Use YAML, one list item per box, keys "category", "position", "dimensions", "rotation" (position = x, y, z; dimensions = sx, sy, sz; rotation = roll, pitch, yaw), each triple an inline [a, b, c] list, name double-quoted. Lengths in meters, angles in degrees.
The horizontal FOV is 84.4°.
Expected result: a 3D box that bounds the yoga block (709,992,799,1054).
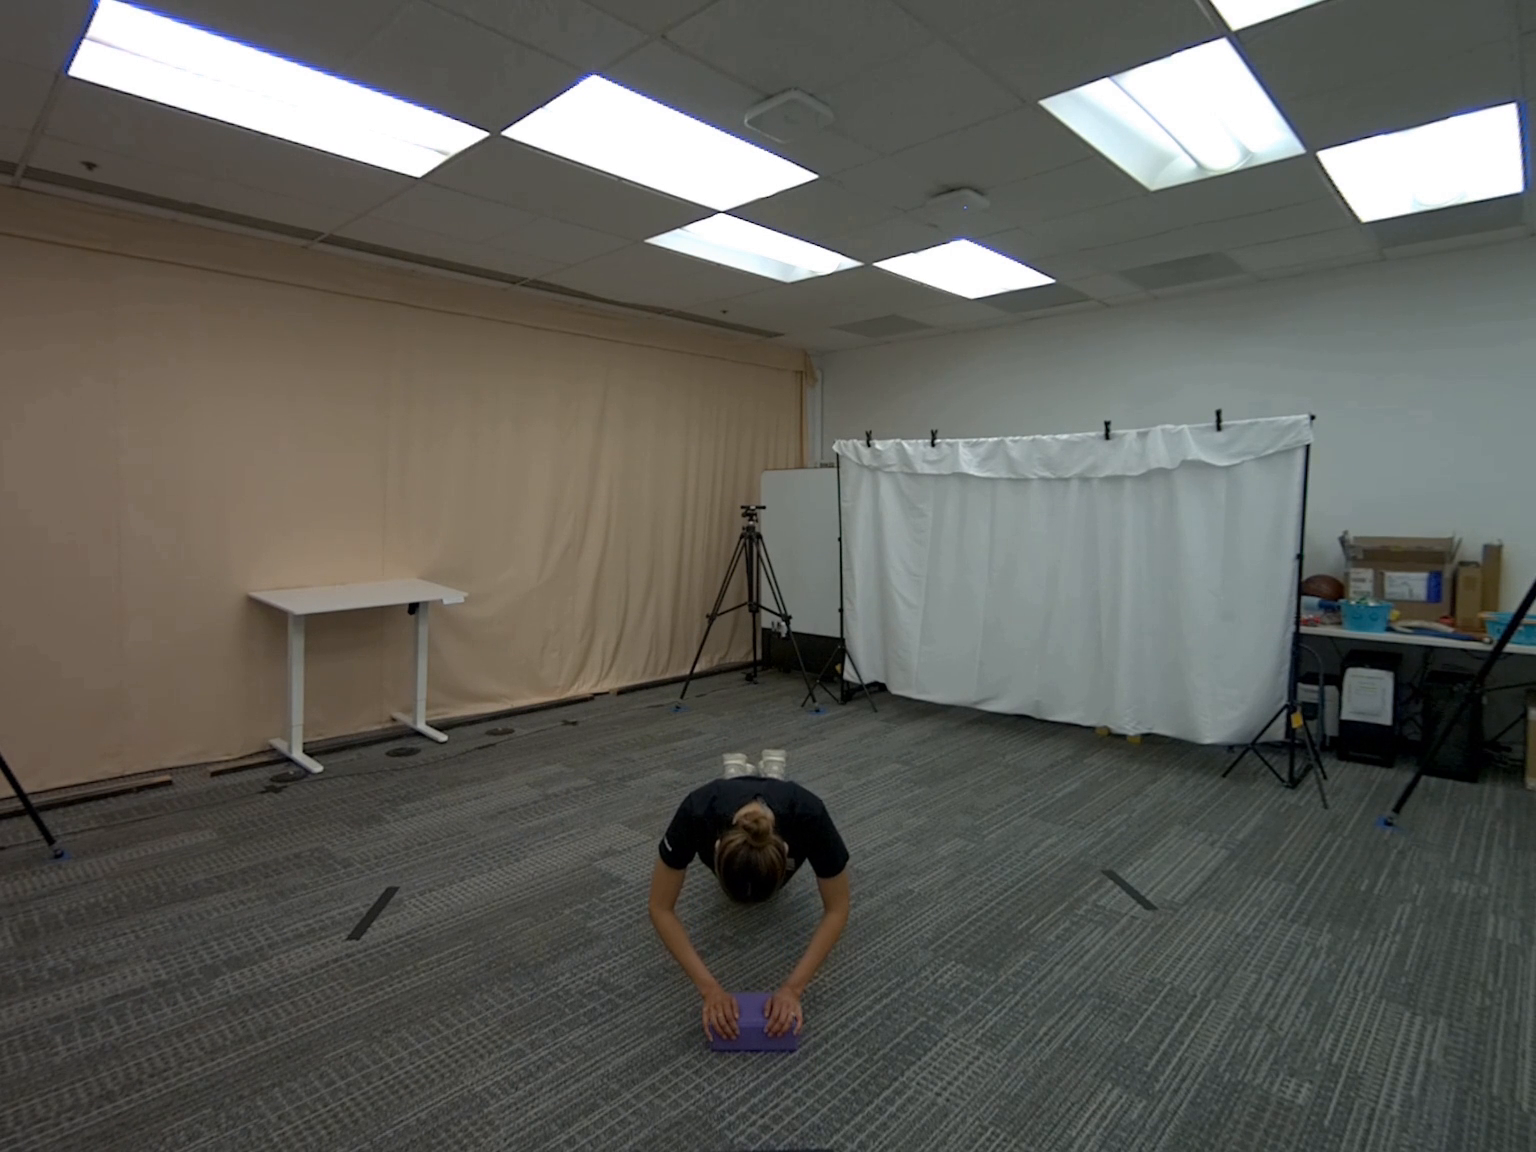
- category: "yoga block"
  position: [-0.042, 1.158, 2.221]
  dimensions: [0.229, 0.076, 0.150]
  rotation: [-1, 8, -1]
